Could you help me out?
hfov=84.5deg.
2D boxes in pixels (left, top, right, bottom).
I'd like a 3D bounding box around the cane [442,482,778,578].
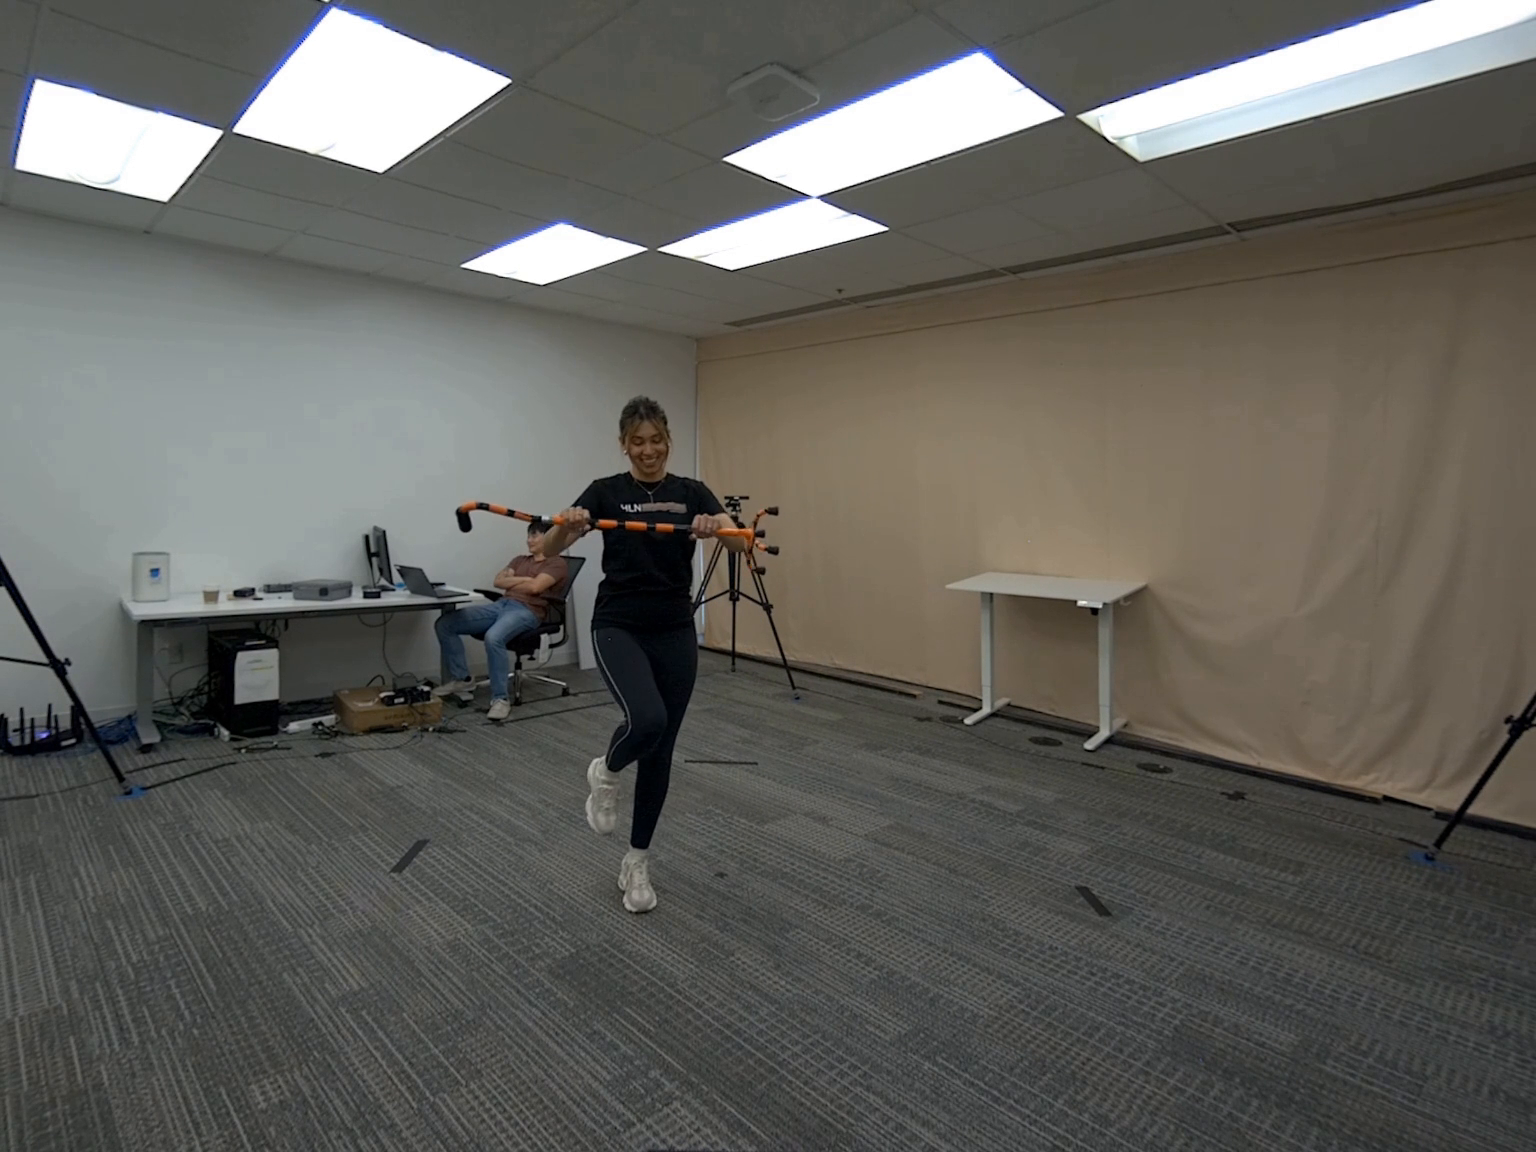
[{"bbox_3d":[-0.442,-0.126,2.432,0.901,0.154,0.205,3,-20,-9],"label":"cane"}]
